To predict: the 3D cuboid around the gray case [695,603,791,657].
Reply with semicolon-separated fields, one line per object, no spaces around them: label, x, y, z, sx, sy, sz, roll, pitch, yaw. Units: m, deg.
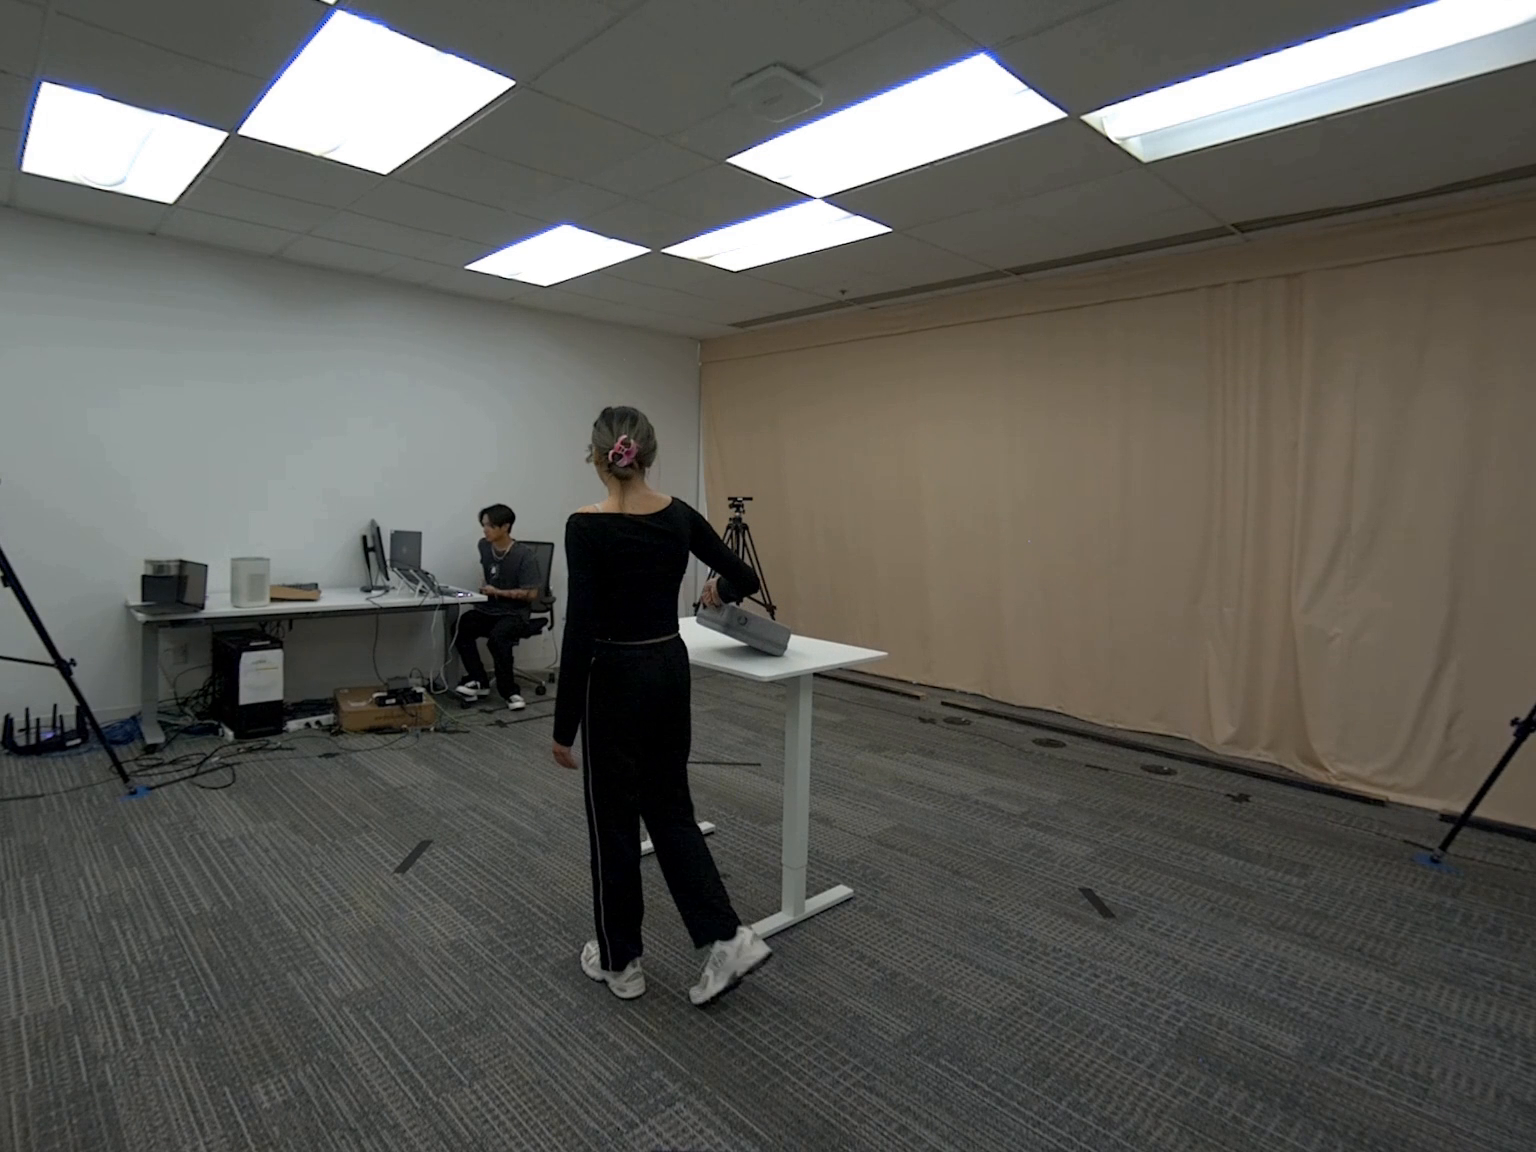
gray case;-0.090;0.165;2.796;0.254;0.104;0.263;24;-5;-27
